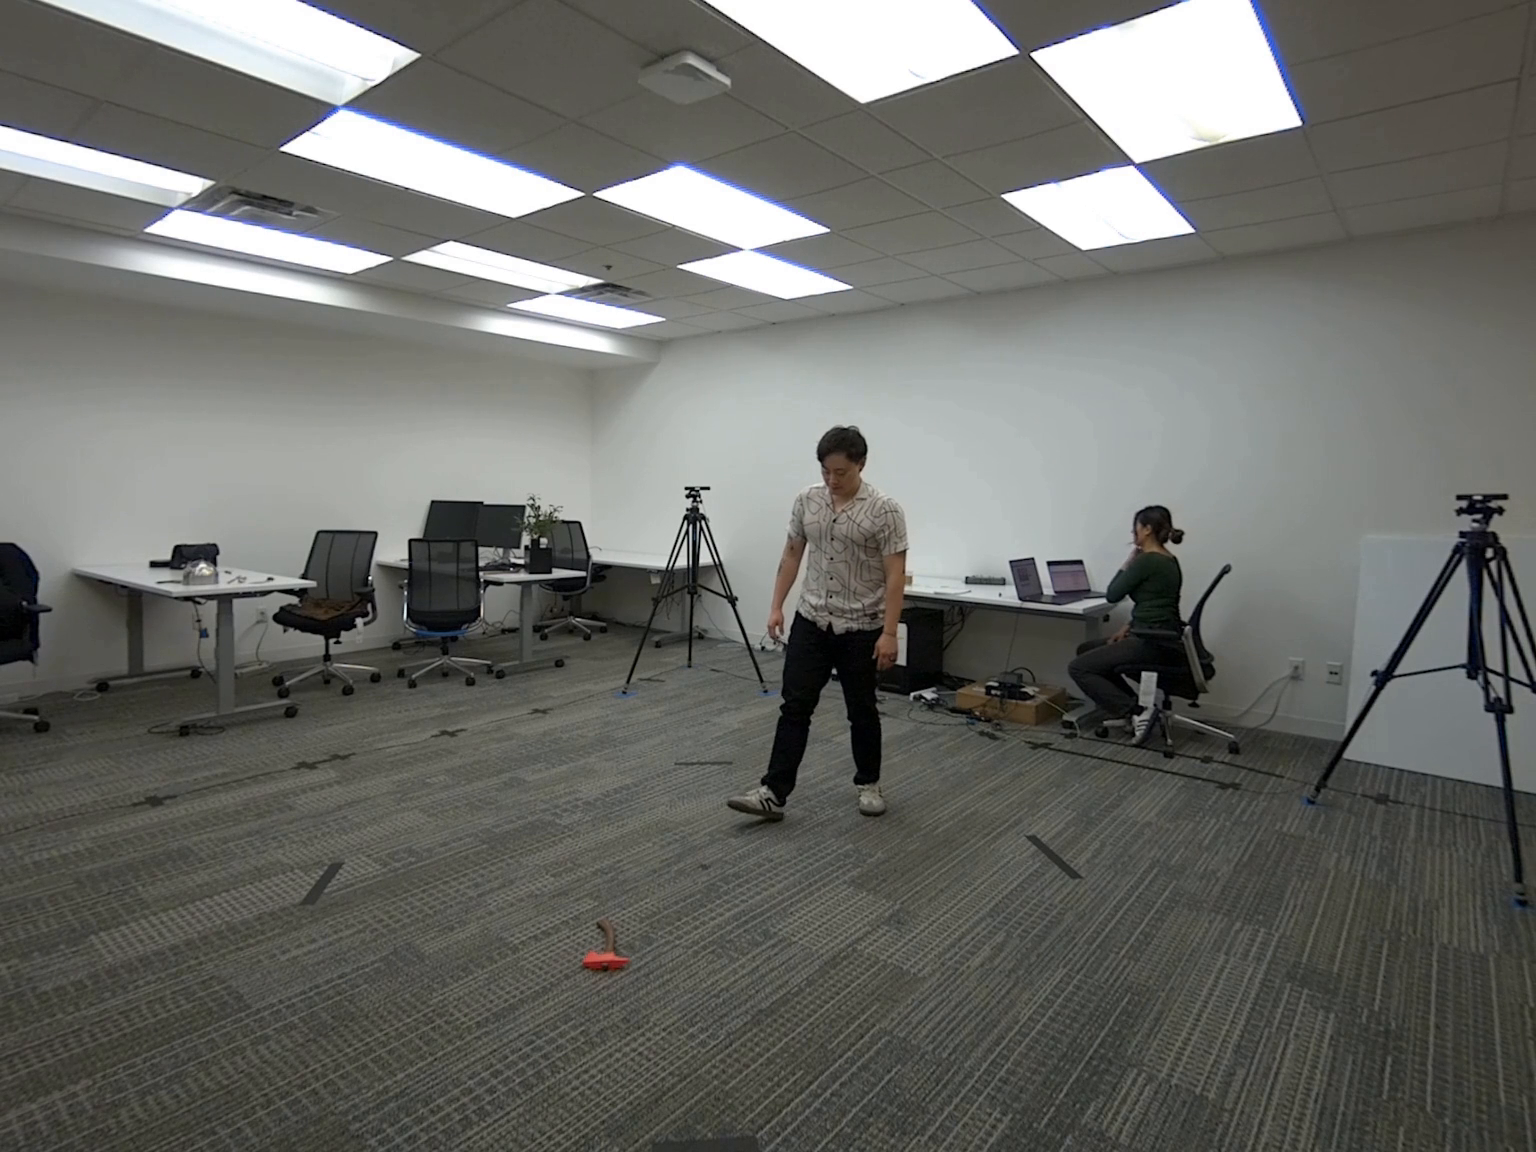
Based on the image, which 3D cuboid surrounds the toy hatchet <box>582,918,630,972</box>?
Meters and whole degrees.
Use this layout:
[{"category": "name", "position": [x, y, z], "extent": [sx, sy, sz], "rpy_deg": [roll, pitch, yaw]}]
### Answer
[{"category": "toy hatchet", "position": [-0.520, 1.106, 2.555], "extent": [0.128, 0.029, 0.277], "rpy_deg": [-6, 6, -23]}]
